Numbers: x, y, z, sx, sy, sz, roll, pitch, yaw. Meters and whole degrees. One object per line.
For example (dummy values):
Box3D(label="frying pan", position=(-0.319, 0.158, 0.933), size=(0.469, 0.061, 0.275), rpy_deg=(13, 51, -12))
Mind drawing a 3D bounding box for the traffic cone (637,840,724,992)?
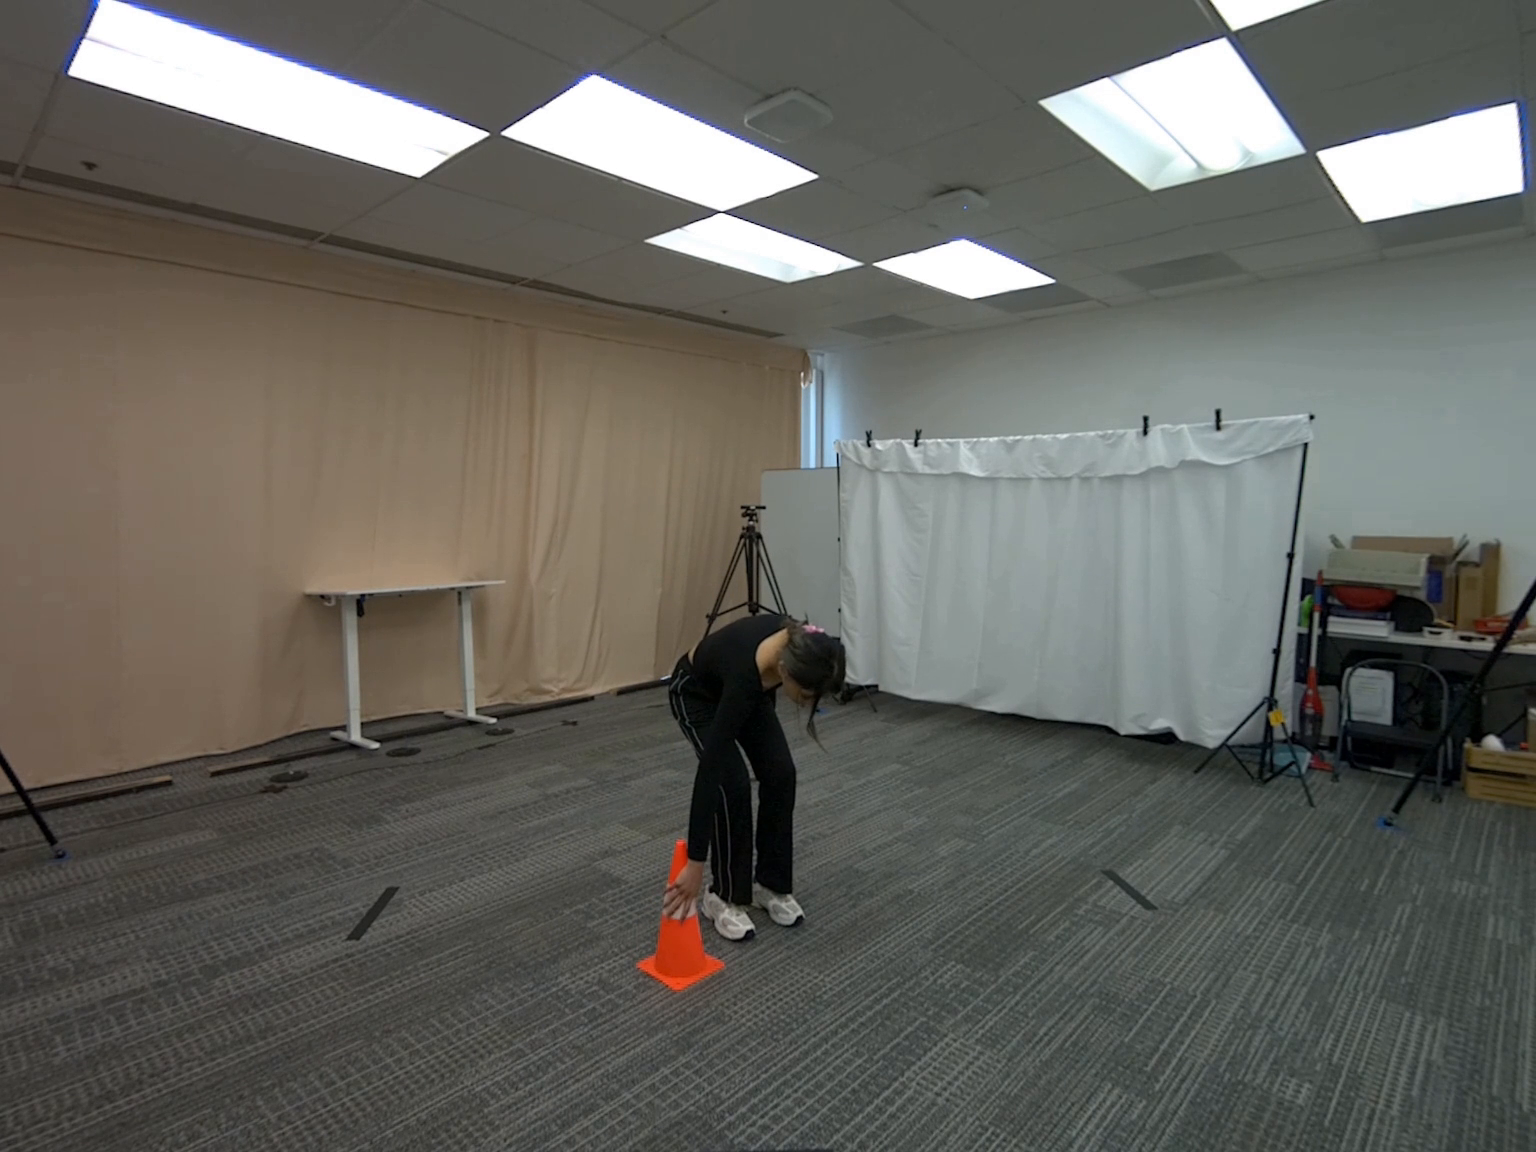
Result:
Box3D(label="traffic cone", position=(-0.263, 0.997, 2.538), size=(0.197, 0.382, 0.212), rpy_deg=(-5, 6, -43))
